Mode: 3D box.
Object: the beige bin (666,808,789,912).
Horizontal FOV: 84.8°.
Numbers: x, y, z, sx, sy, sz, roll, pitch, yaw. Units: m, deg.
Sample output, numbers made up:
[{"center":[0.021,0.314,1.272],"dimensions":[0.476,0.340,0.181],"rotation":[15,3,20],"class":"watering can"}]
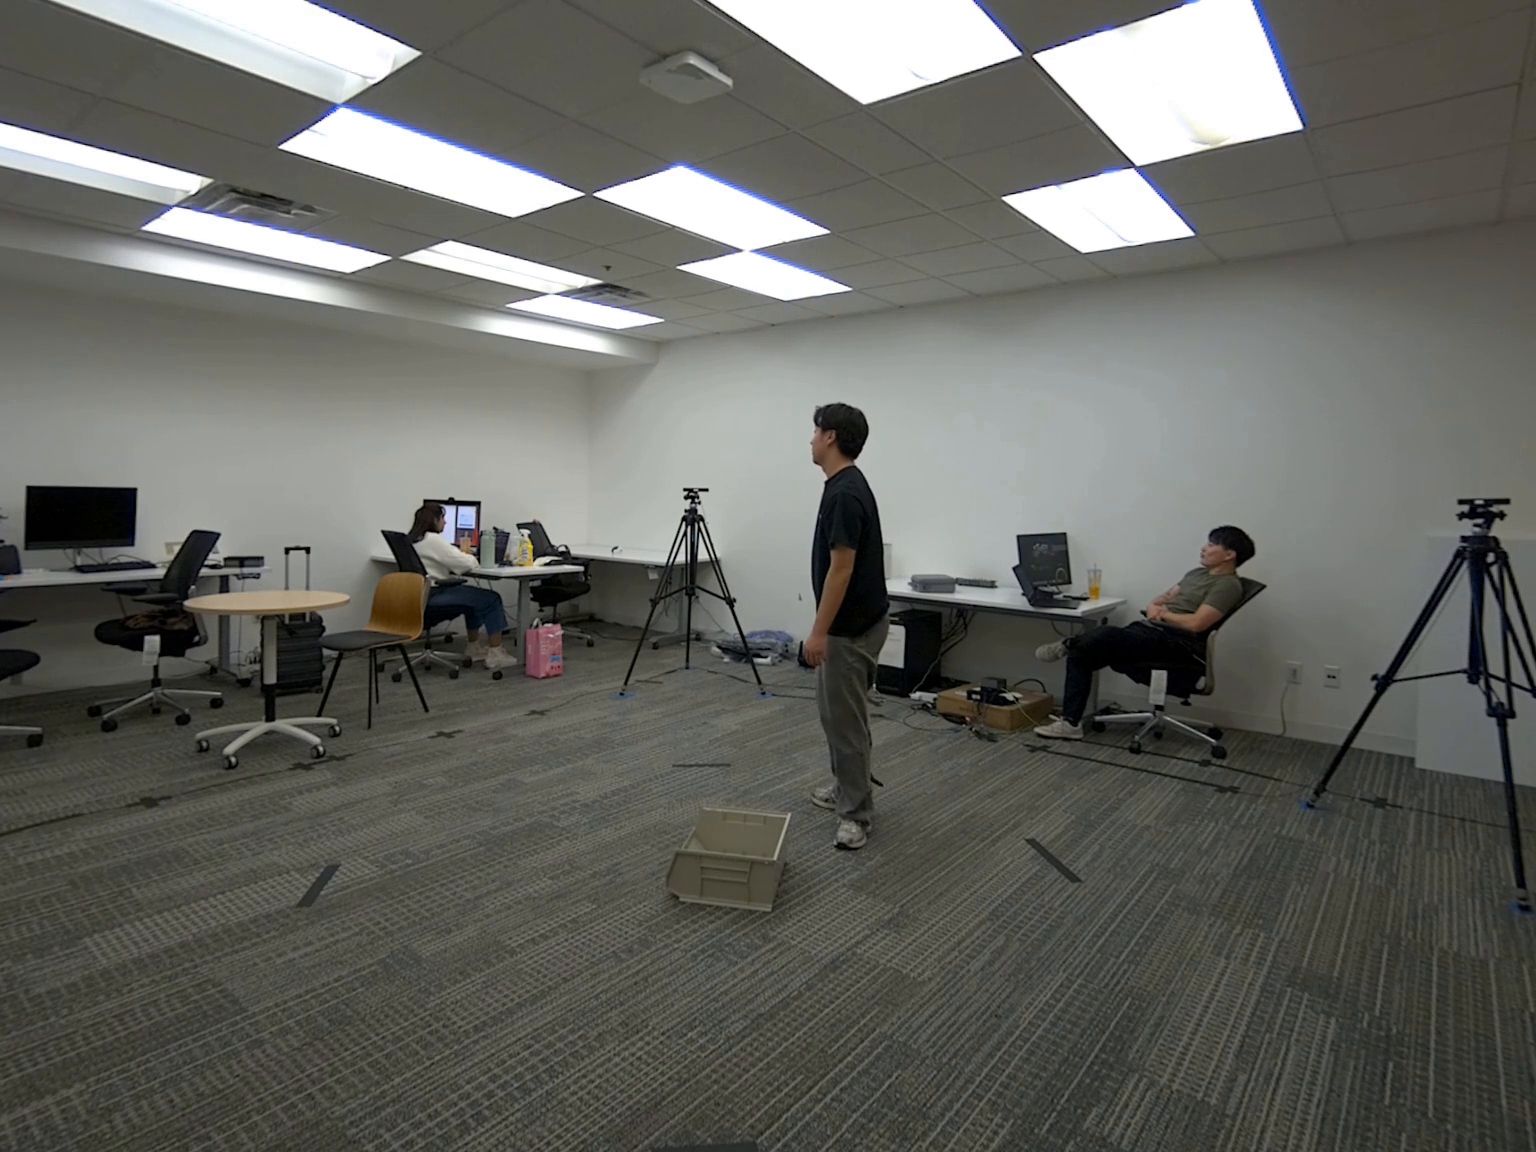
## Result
[{"center":[-0.140,0.989,3.027],"dimensions":[0.382,0.188,0.419],"rotation":[3,5,9],"class":"beige bin"}]
